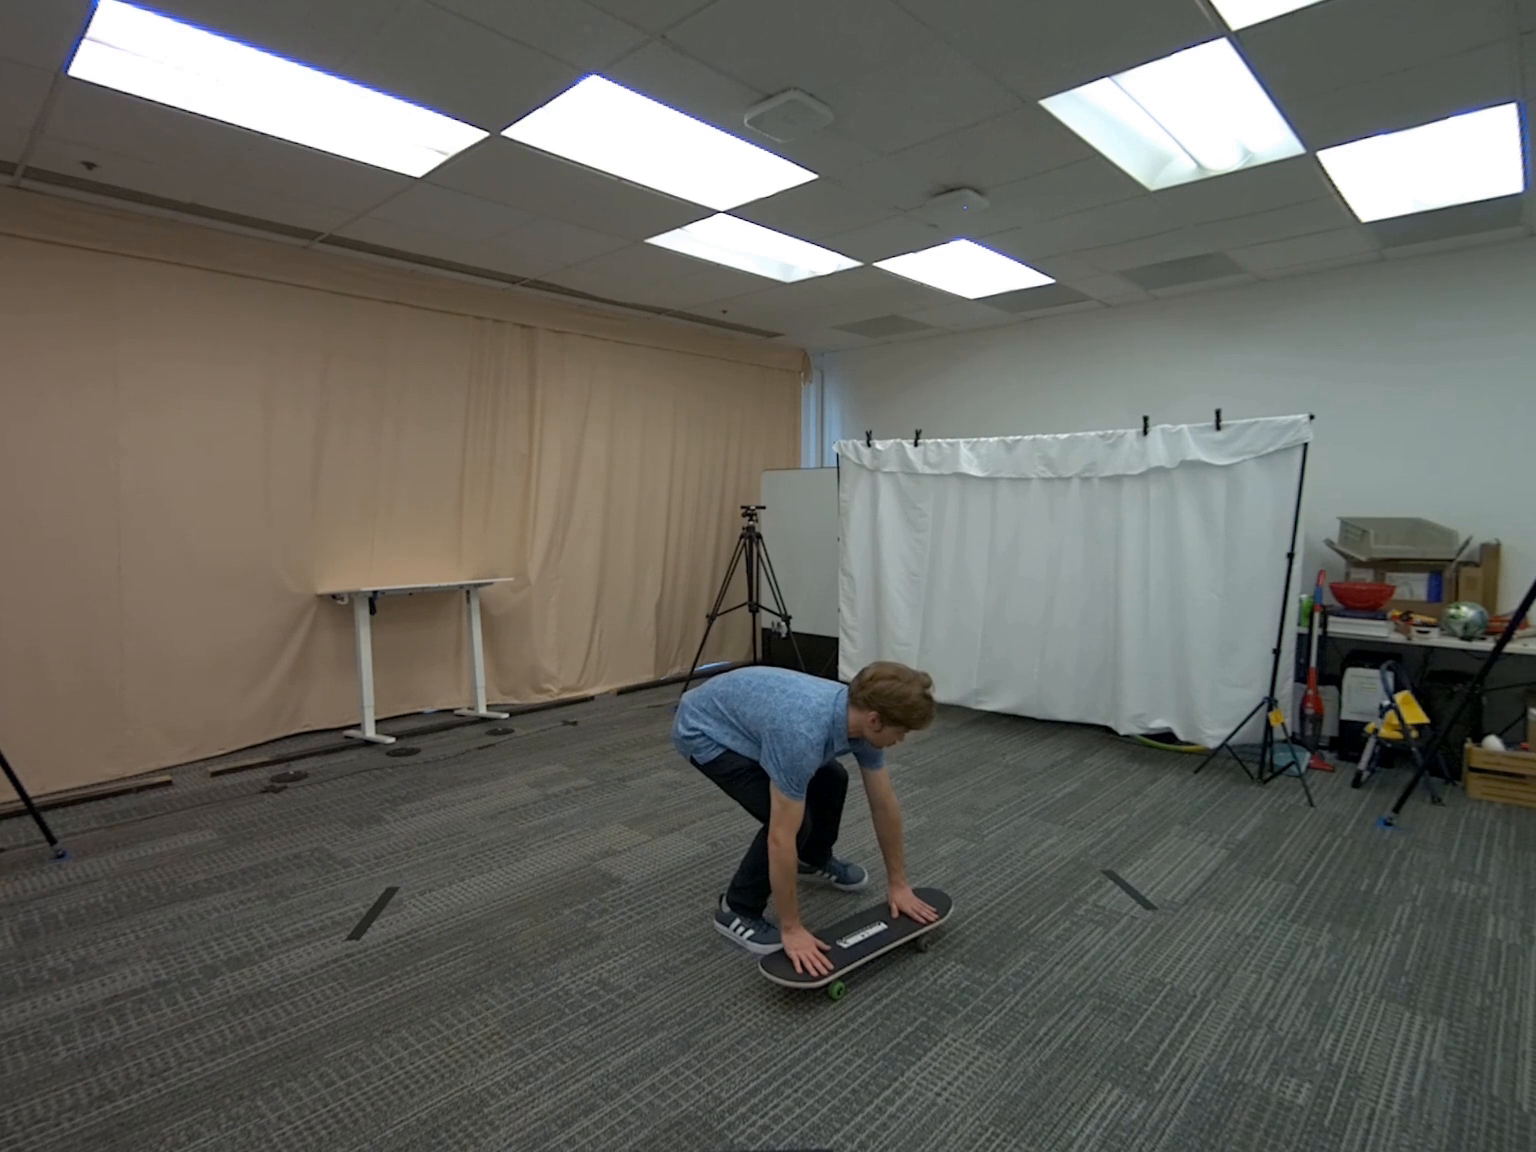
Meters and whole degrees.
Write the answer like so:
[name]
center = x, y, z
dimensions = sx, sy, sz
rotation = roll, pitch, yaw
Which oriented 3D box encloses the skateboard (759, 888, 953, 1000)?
[skateboard]
center = 0.295, 1.126, 2.561
dimensions = 0.762, 0.110, 0.200
rotation = -4, 9, -40
